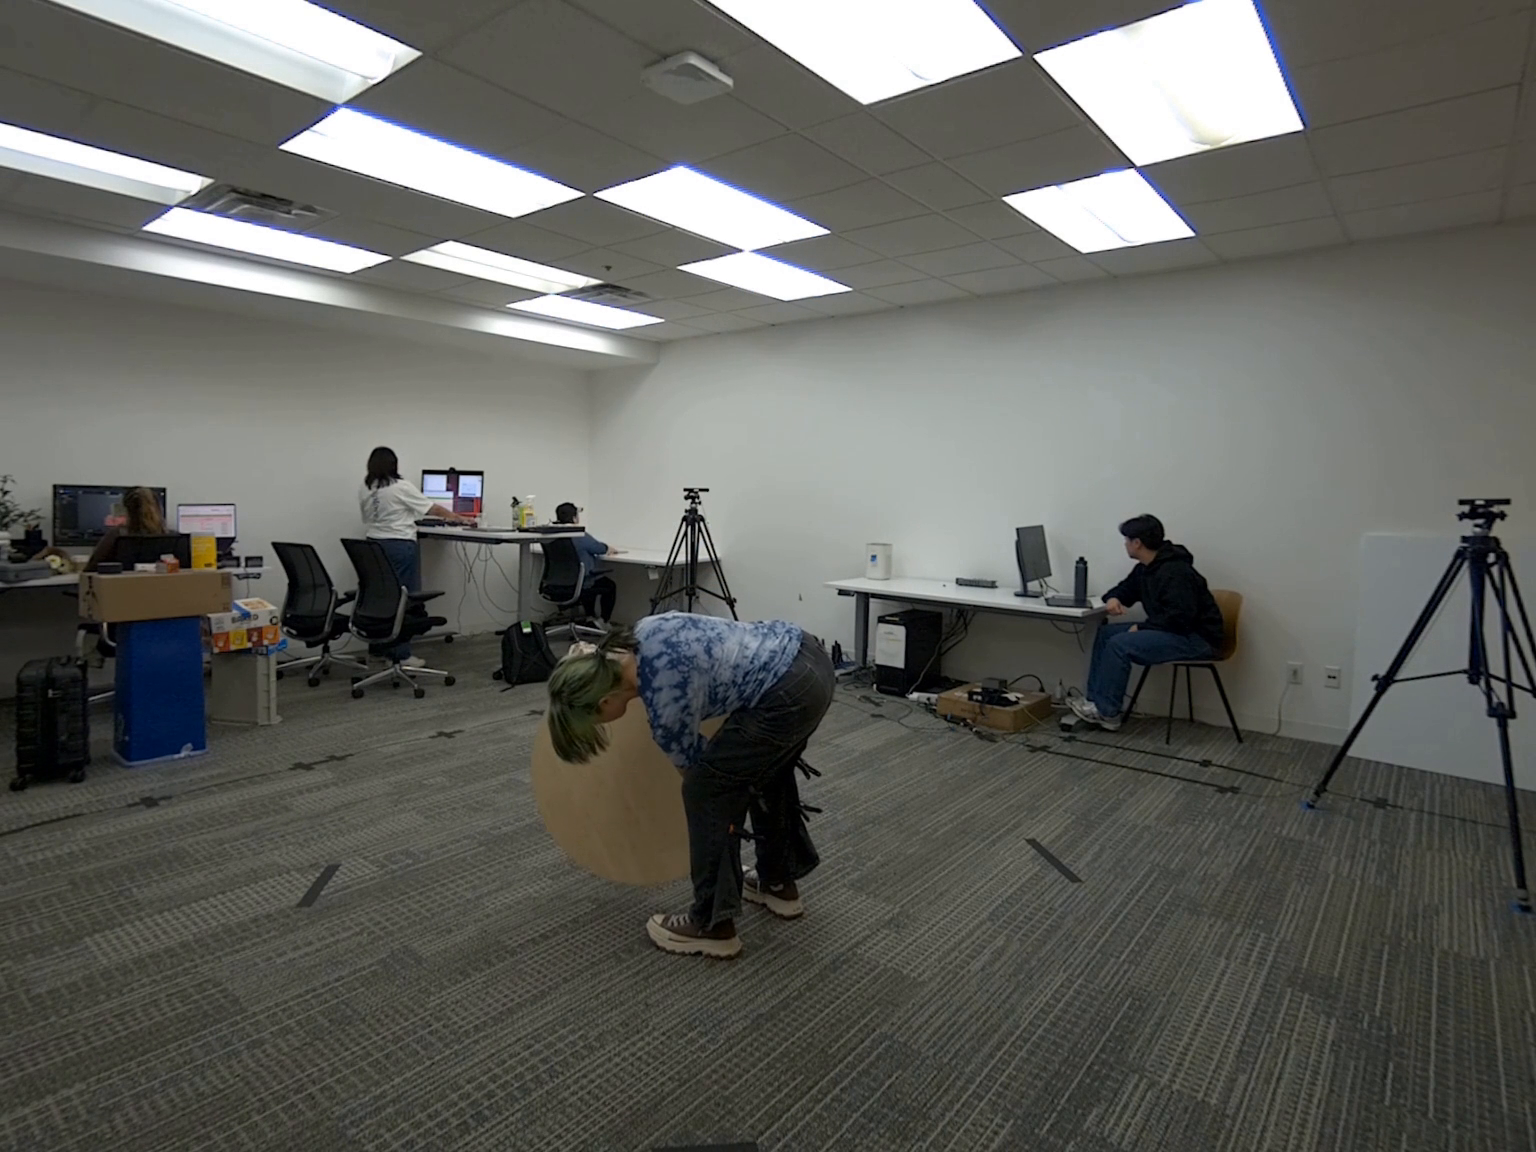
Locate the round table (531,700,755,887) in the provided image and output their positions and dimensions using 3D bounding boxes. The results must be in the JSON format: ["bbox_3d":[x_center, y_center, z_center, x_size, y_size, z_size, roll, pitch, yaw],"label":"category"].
[{"bbox_3d":[-0.427,0.673,3.280,0.771,0.766,0.785,1,-2,7],"label":"round table"}]
